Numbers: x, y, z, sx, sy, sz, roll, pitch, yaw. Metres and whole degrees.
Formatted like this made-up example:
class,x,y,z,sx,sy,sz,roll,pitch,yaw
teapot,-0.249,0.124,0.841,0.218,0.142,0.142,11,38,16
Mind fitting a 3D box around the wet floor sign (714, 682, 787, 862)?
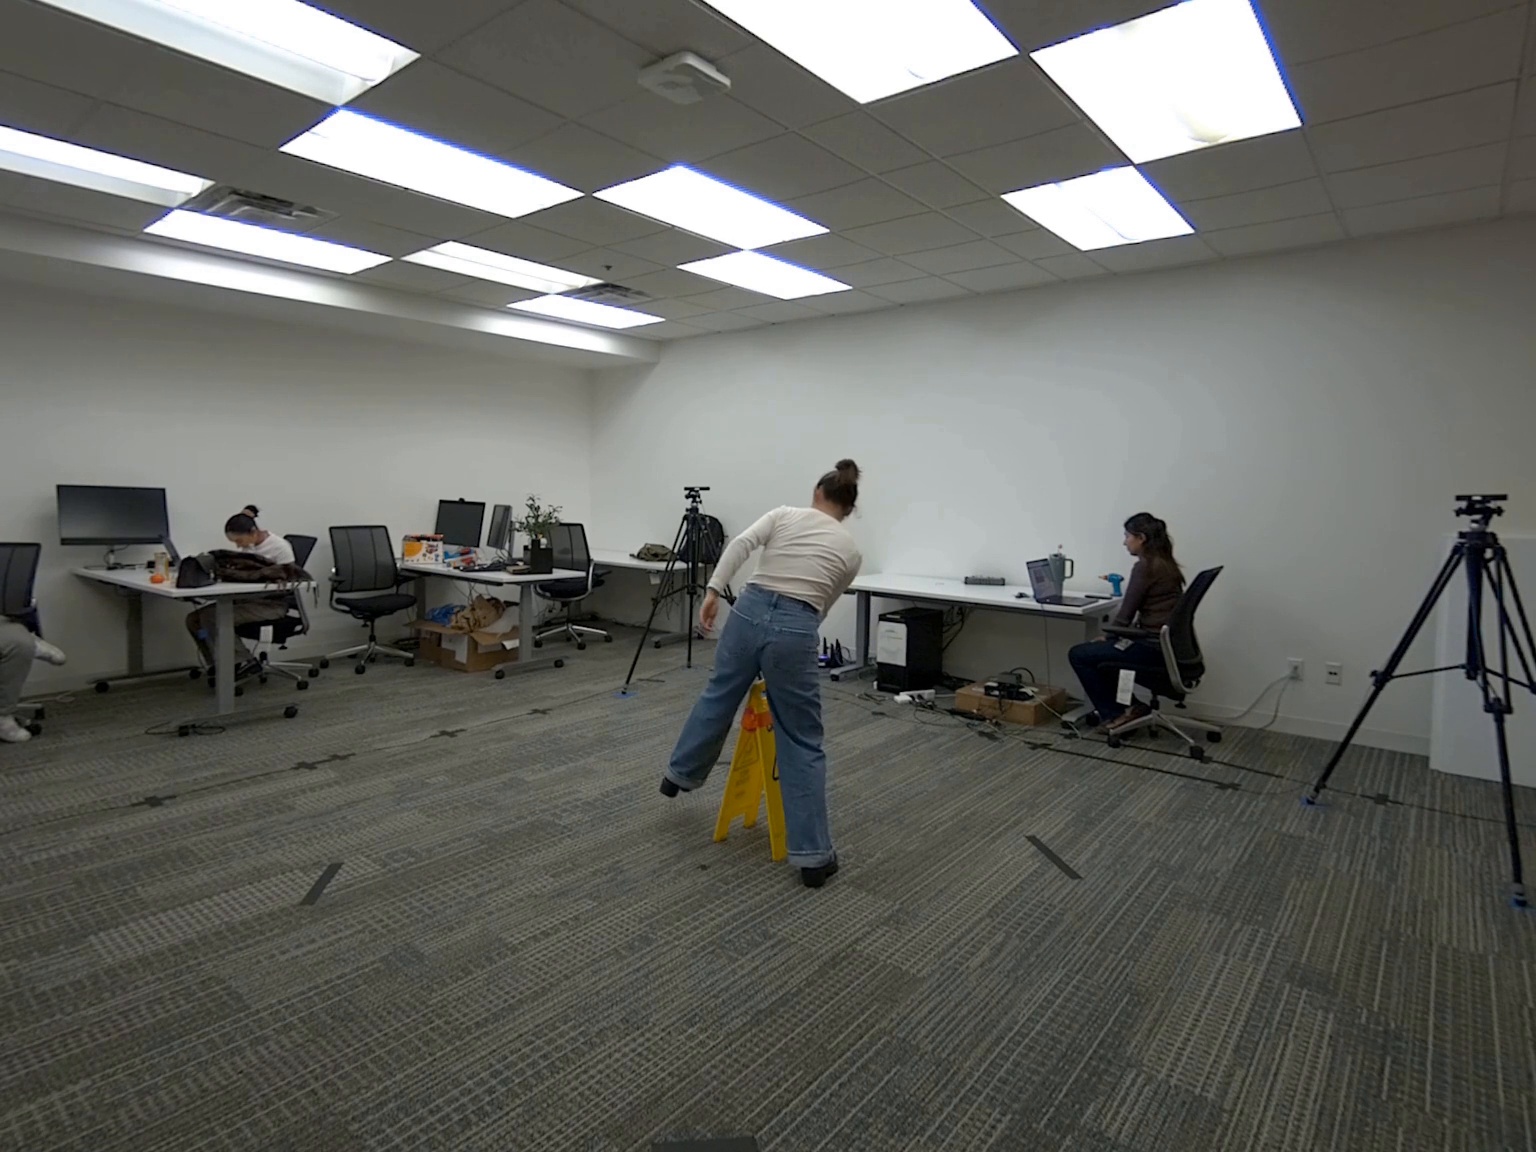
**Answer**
class,x,y,z,sx,sy,sz,roll,pitch,yaw
wet floor sign,-0.013,0.723,3.346,0.299,0.644,0.274,5,5,35
